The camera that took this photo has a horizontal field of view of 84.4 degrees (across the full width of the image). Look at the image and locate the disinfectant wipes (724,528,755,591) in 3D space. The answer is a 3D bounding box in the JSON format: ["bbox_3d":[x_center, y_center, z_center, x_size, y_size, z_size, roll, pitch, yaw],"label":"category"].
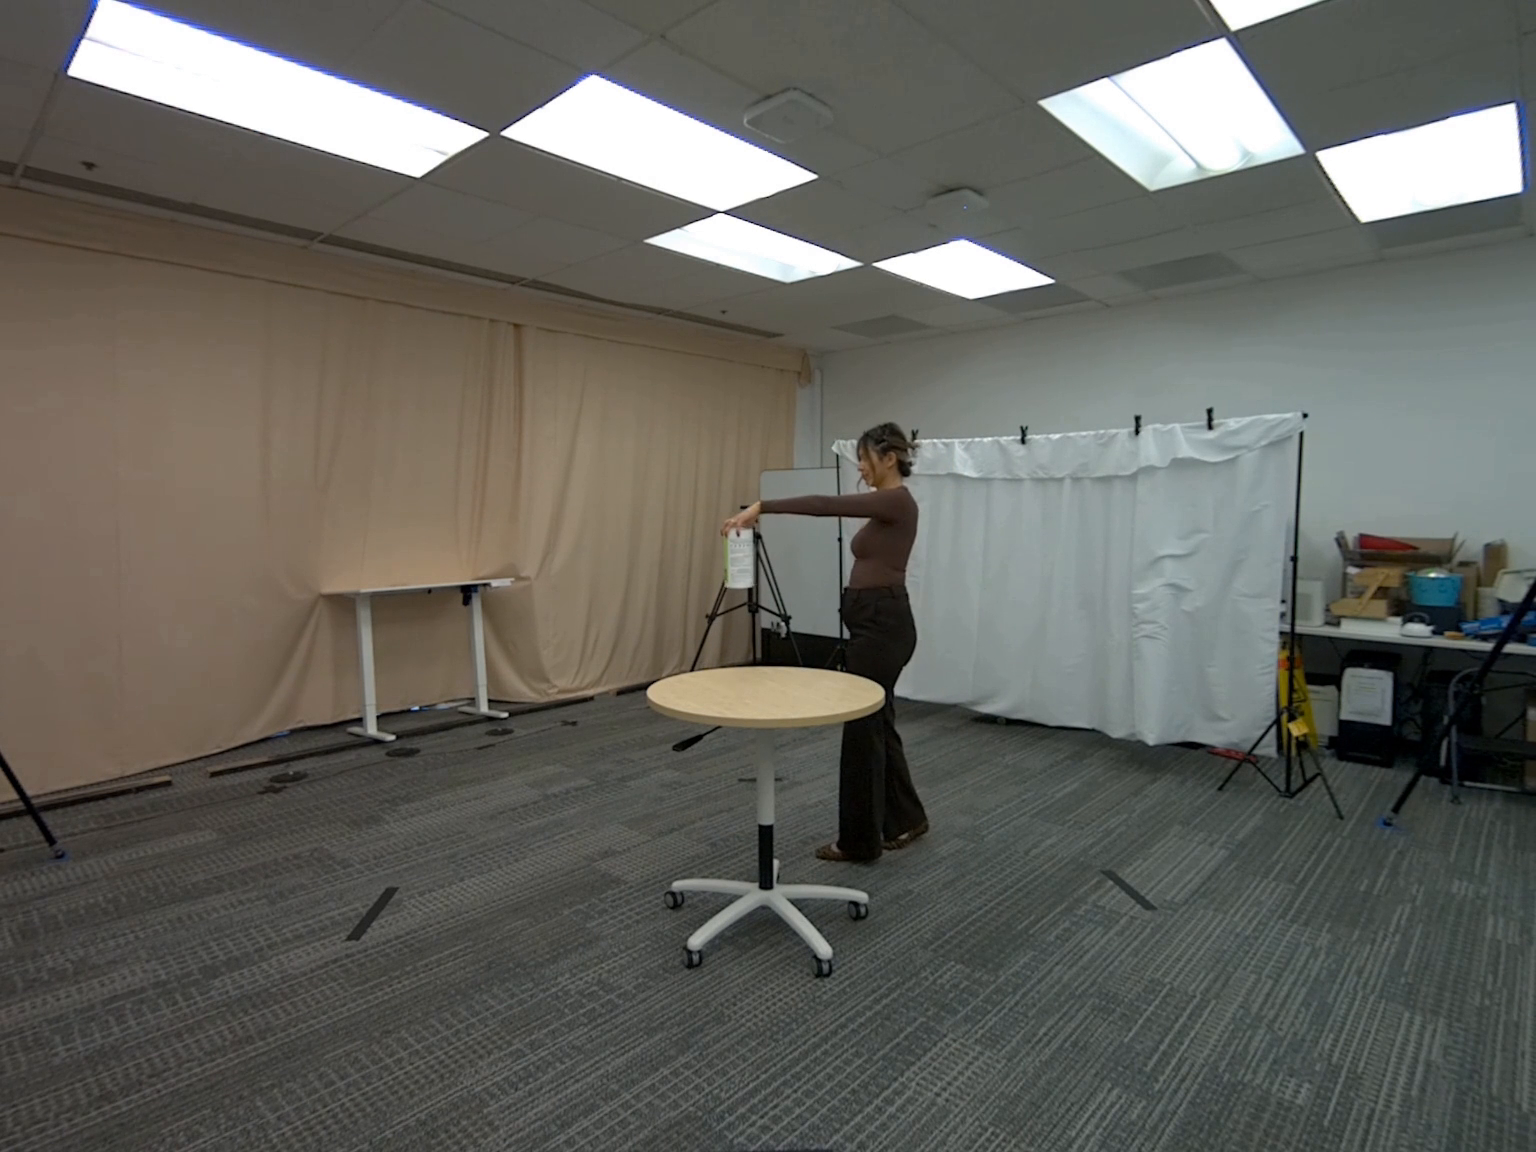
[{"bbox_3d":[-0.099,-0.064,3.105,0.117,0.216,0.118,1,7,-2],"label":"disinfectant wipes"}]
